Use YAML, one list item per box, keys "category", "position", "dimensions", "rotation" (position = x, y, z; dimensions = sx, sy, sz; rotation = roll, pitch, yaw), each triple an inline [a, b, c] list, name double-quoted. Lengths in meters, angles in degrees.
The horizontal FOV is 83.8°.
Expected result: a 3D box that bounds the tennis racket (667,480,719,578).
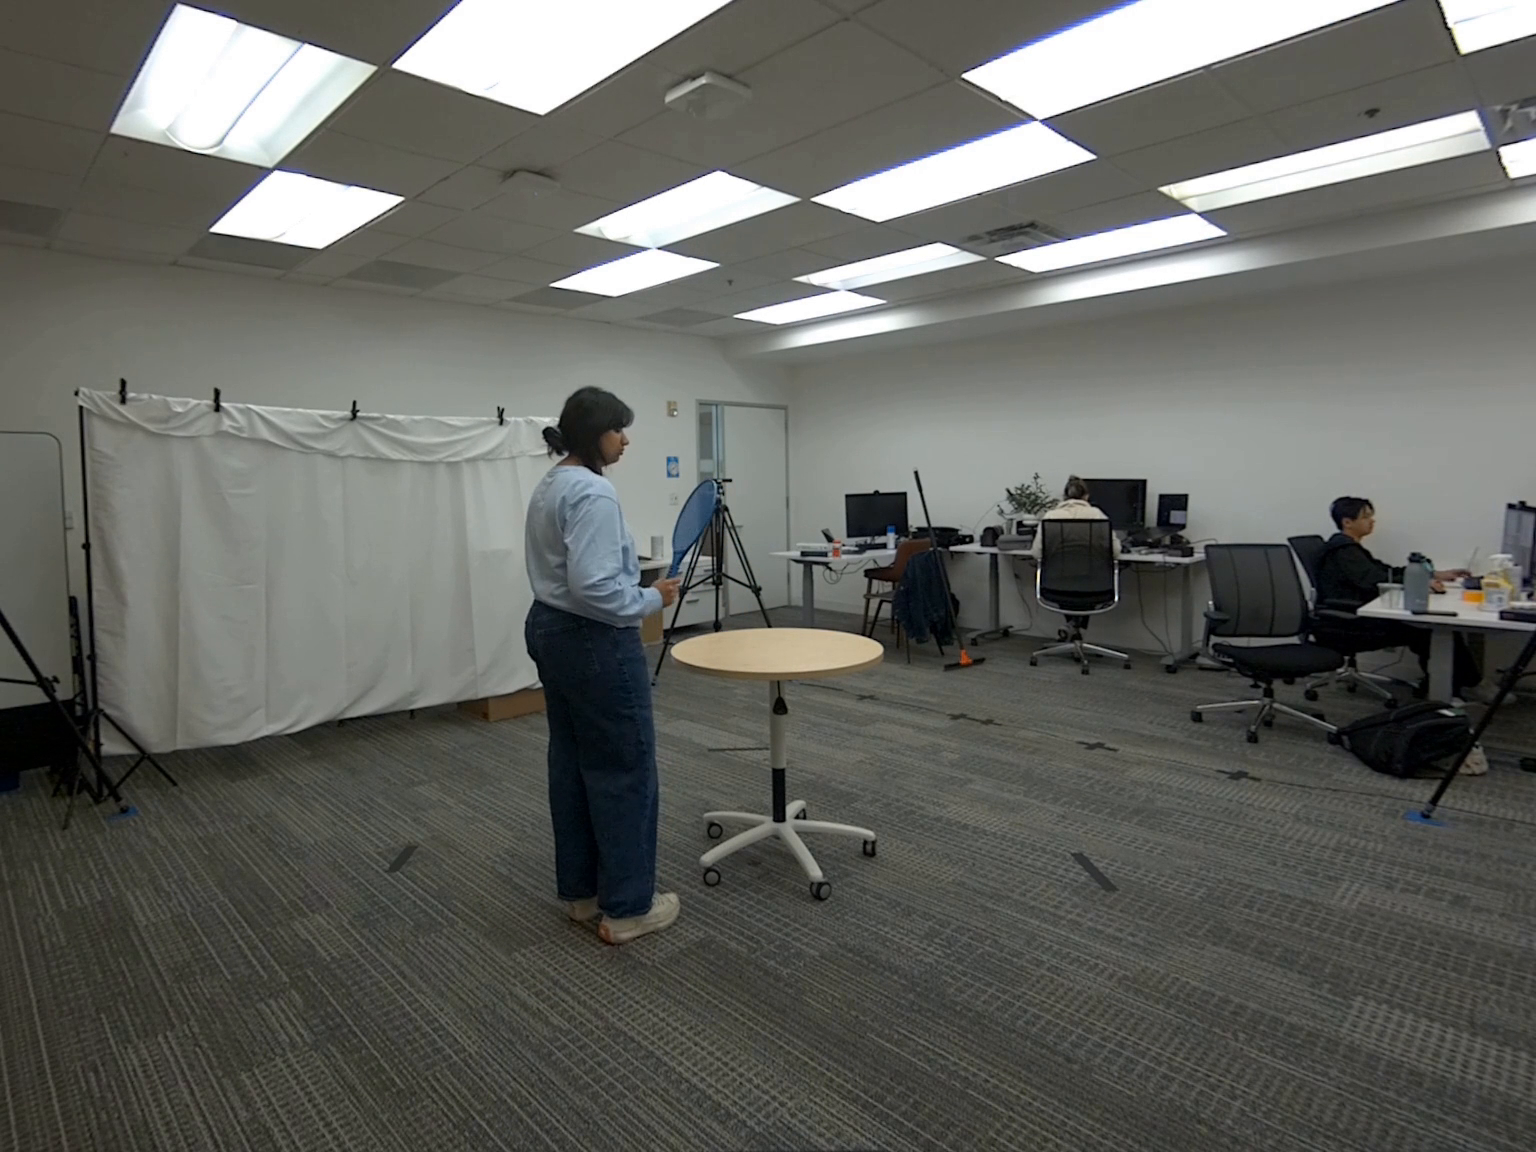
- category: "tennis racket"
  position: [-0.264, -0.117, 2.730]
  dimensions: [0.031, 0.436, 0.219]
  rotation: [31, -20, -29]
